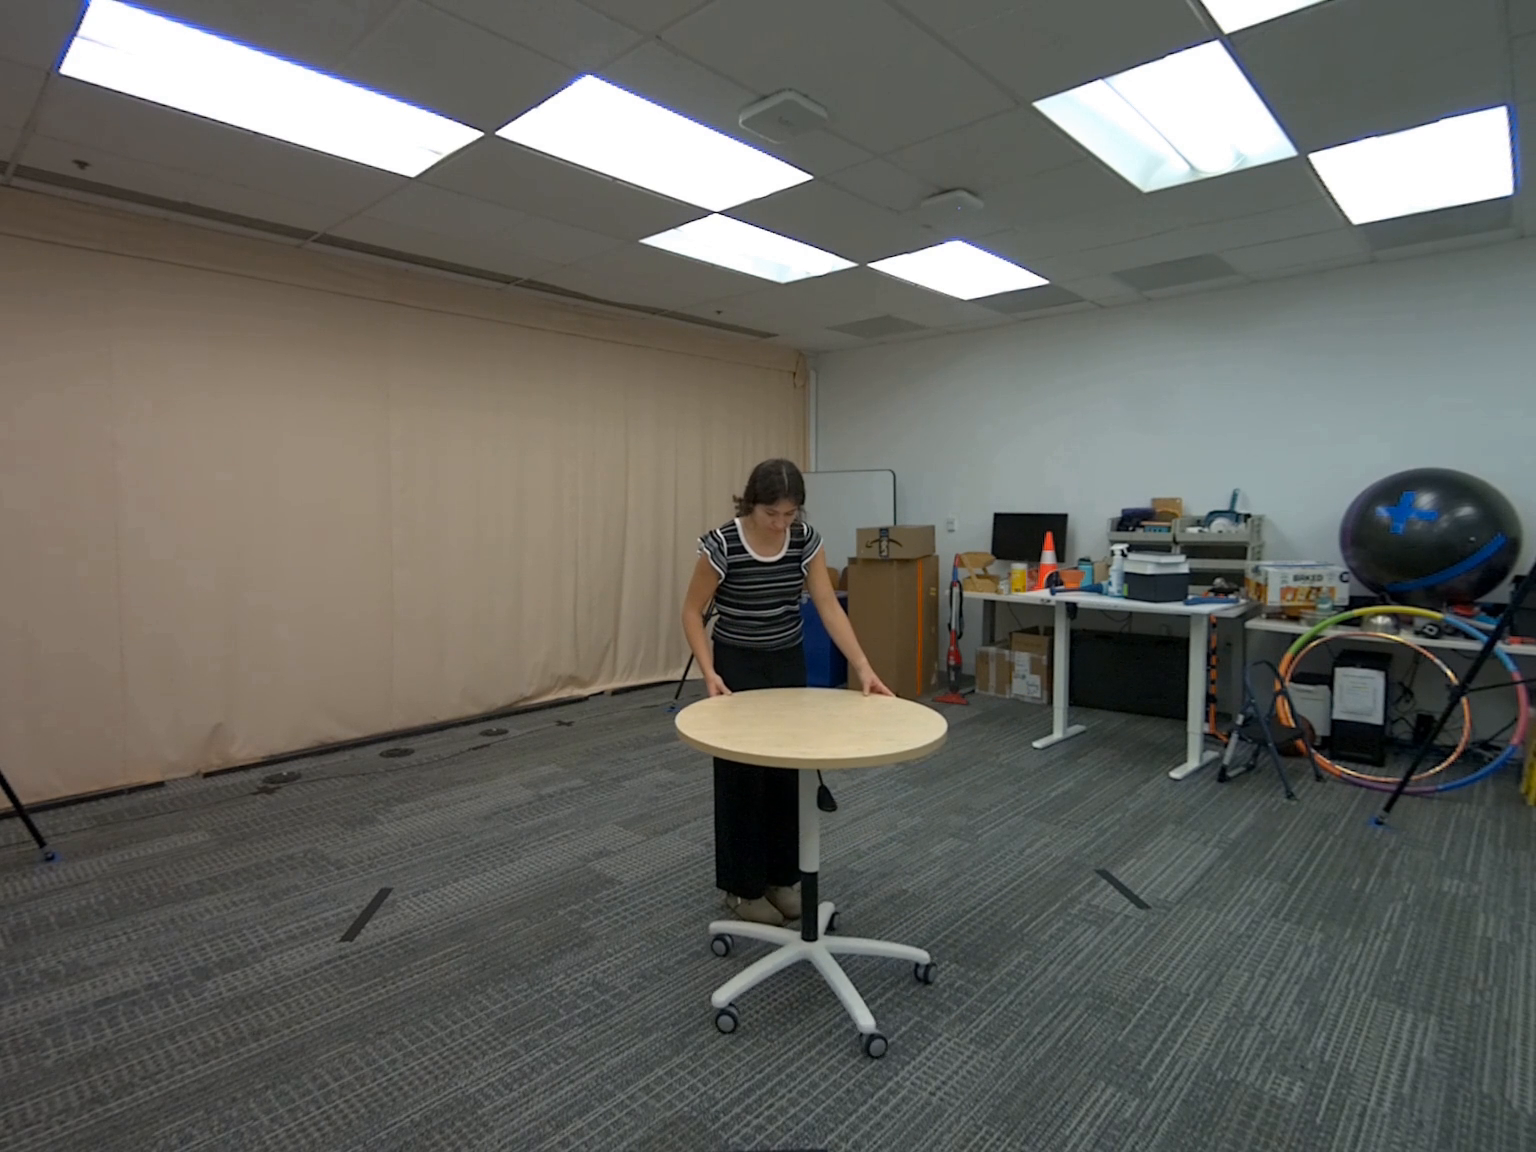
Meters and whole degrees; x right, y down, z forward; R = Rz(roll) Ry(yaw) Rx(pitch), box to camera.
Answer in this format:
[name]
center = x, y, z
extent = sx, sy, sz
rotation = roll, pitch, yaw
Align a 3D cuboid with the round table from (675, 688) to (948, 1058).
[round table]
center = 0.120, 0.792, 2.441
extent = 0.784, 0.785, 0.788
rotation = 0, 4, -2
